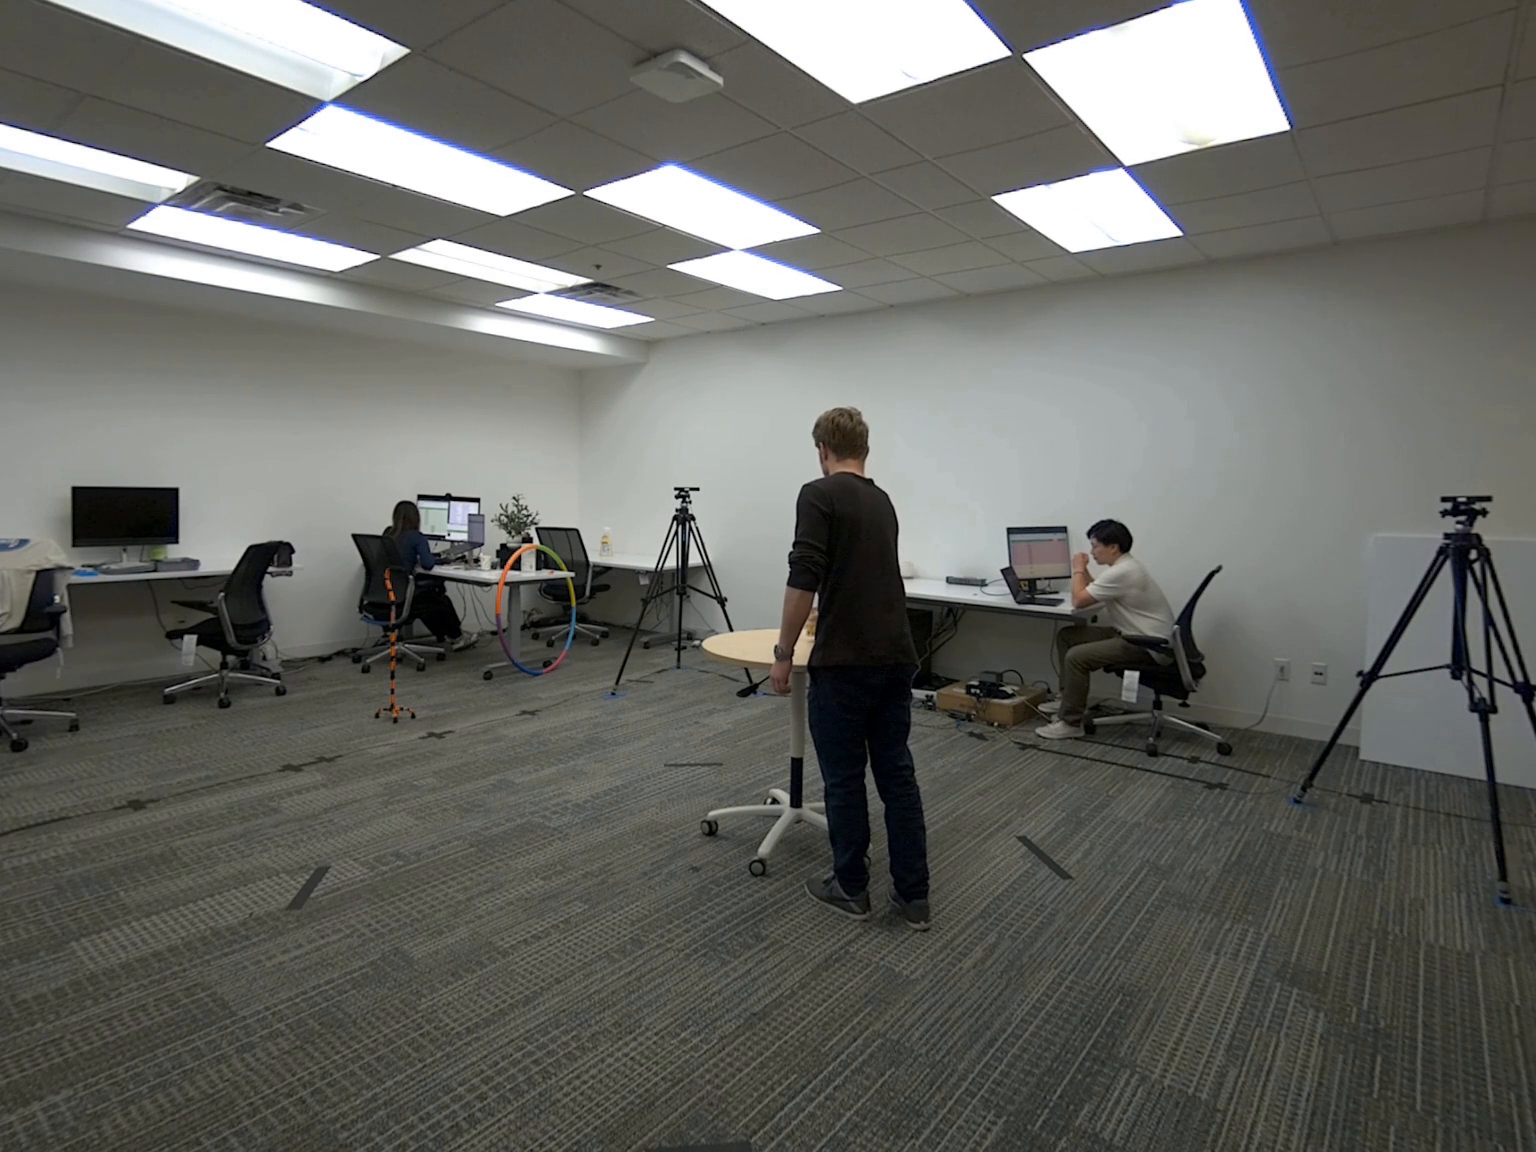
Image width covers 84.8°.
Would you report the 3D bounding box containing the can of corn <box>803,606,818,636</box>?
[{"bbox_3d":[0.186,0.183,3.424,0.074,0.112,0.074,3,-7,-1],"label":"can of corn"}]
